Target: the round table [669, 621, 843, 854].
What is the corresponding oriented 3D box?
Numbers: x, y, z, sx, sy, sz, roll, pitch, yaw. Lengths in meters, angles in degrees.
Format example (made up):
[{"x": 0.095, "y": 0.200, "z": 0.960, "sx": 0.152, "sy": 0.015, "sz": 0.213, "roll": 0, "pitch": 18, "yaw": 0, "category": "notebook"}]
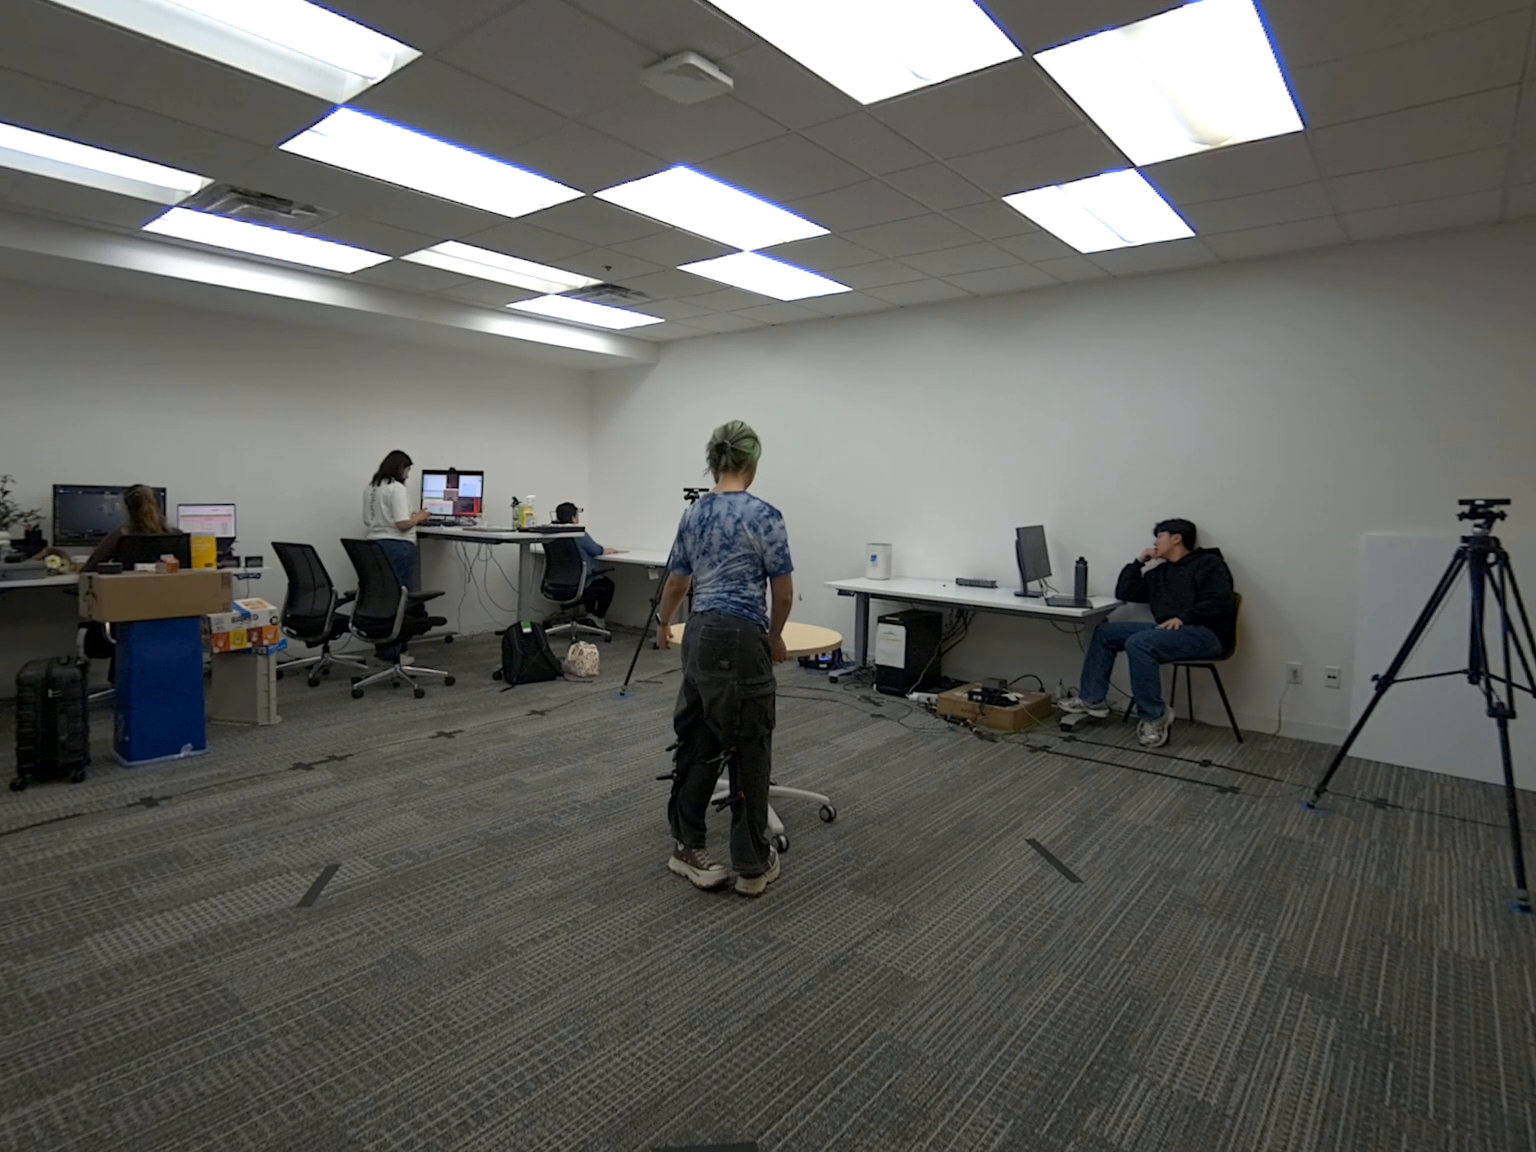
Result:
[{"x": -0.092, "y": 0.633, "z": 3.588, "sx": 0.763, "sy": 0.791, "sz": 0.768, "roll": 1, "pitch": 4, "yaw": -2, "category": "round table"}]
